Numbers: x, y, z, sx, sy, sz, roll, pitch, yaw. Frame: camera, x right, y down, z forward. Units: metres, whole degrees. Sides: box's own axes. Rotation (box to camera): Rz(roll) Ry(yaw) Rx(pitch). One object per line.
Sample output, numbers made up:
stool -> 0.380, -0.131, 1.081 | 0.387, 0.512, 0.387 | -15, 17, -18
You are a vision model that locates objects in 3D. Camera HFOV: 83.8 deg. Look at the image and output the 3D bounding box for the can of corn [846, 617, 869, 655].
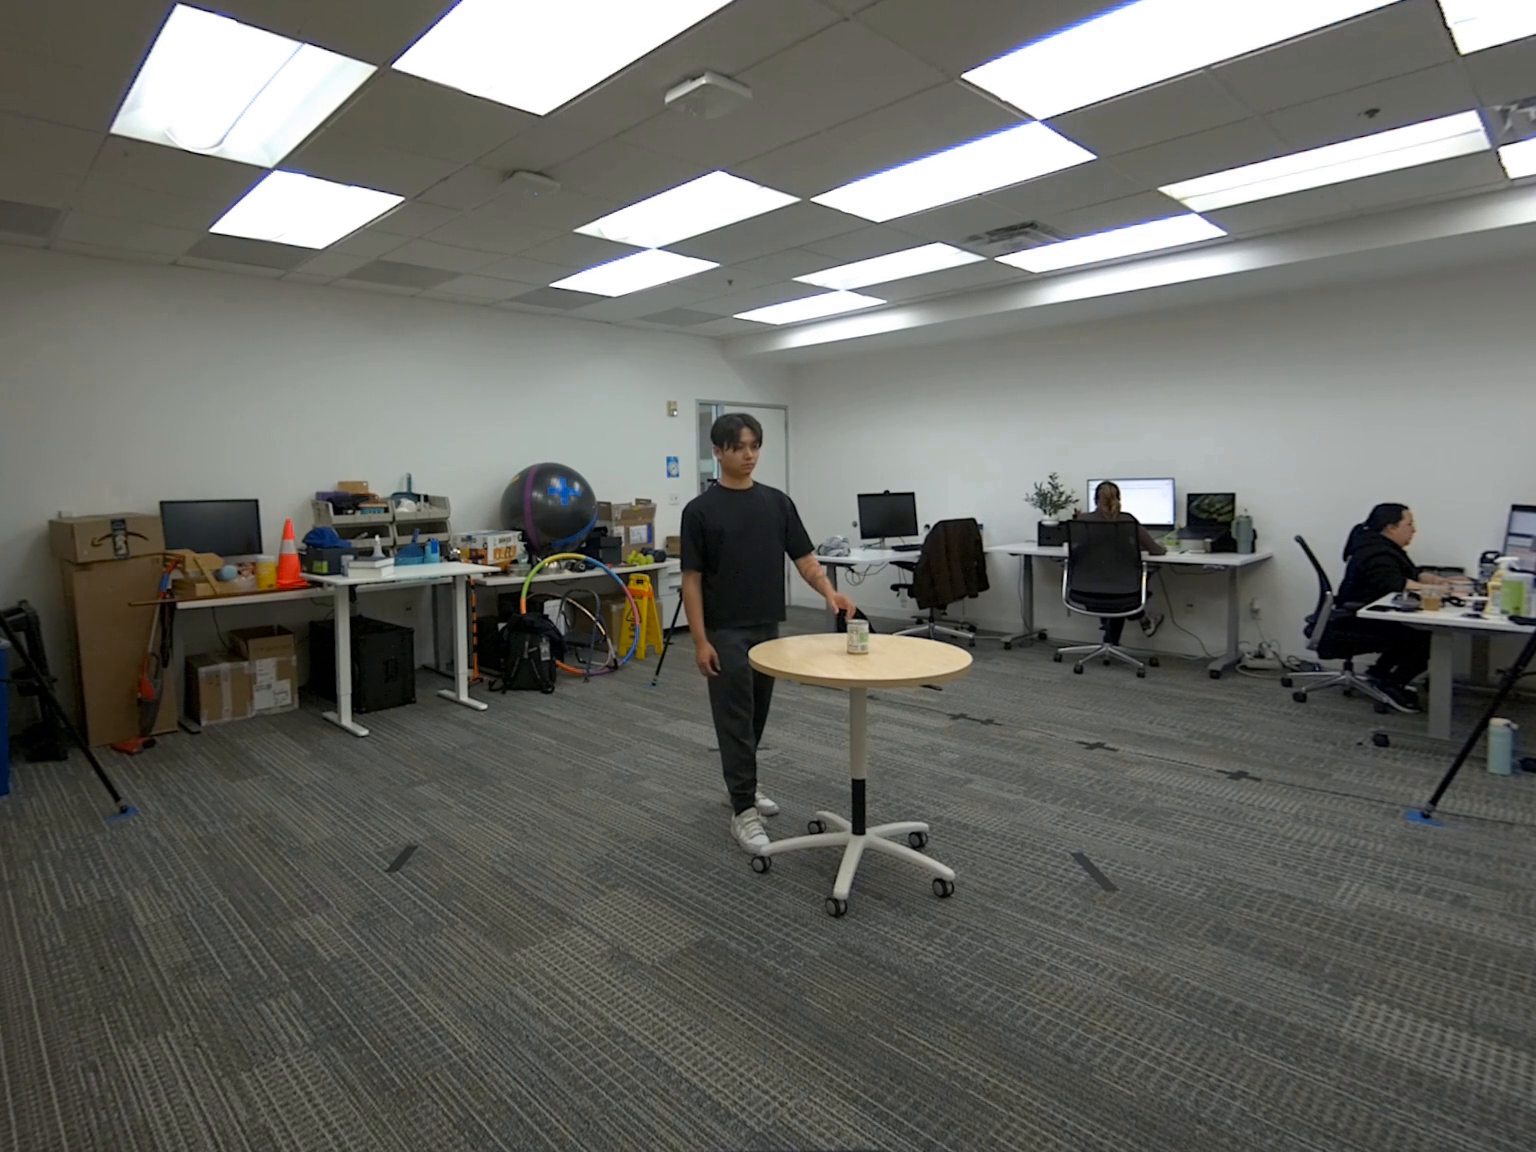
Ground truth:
can of corn -> 0.322, 0.215, 2.982 | 0.074, 0.110, 0.075 | 0, 6, -2
